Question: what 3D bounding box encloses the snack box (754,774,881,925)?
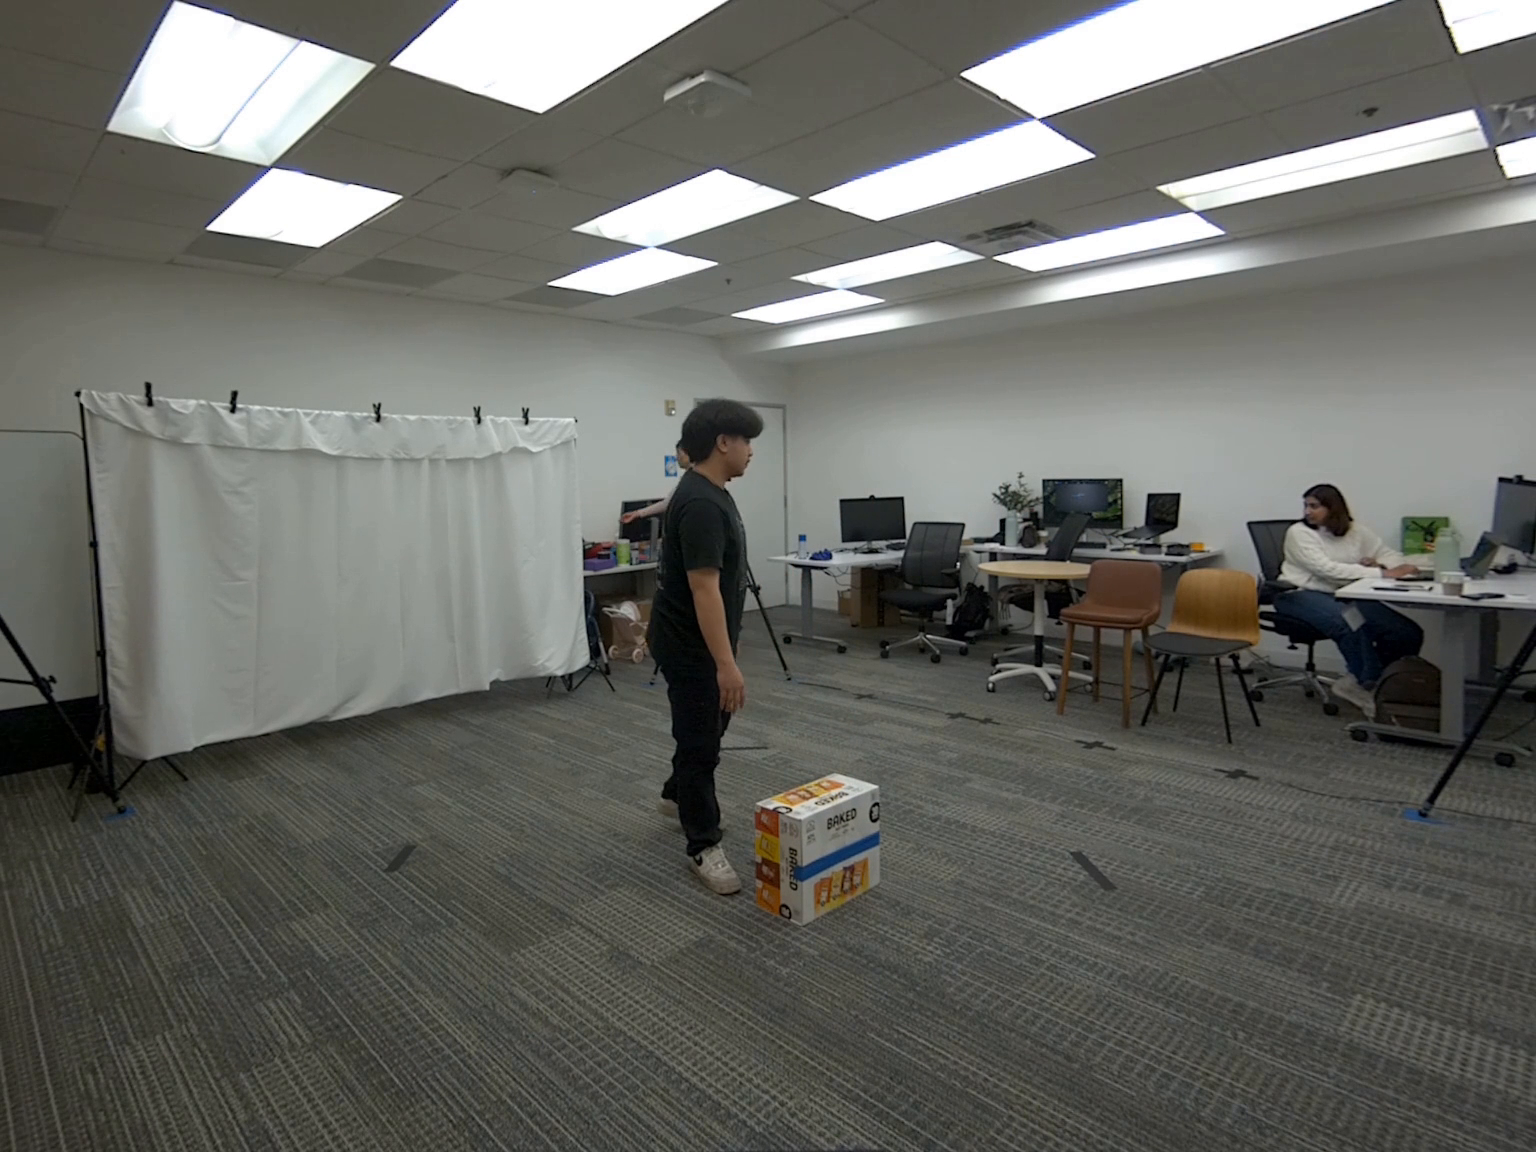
[{"bbox_3d":[0.172,0.897,2.857,0.394,0.339,0.212,-6,6,-44],"label":"snack box"}]
